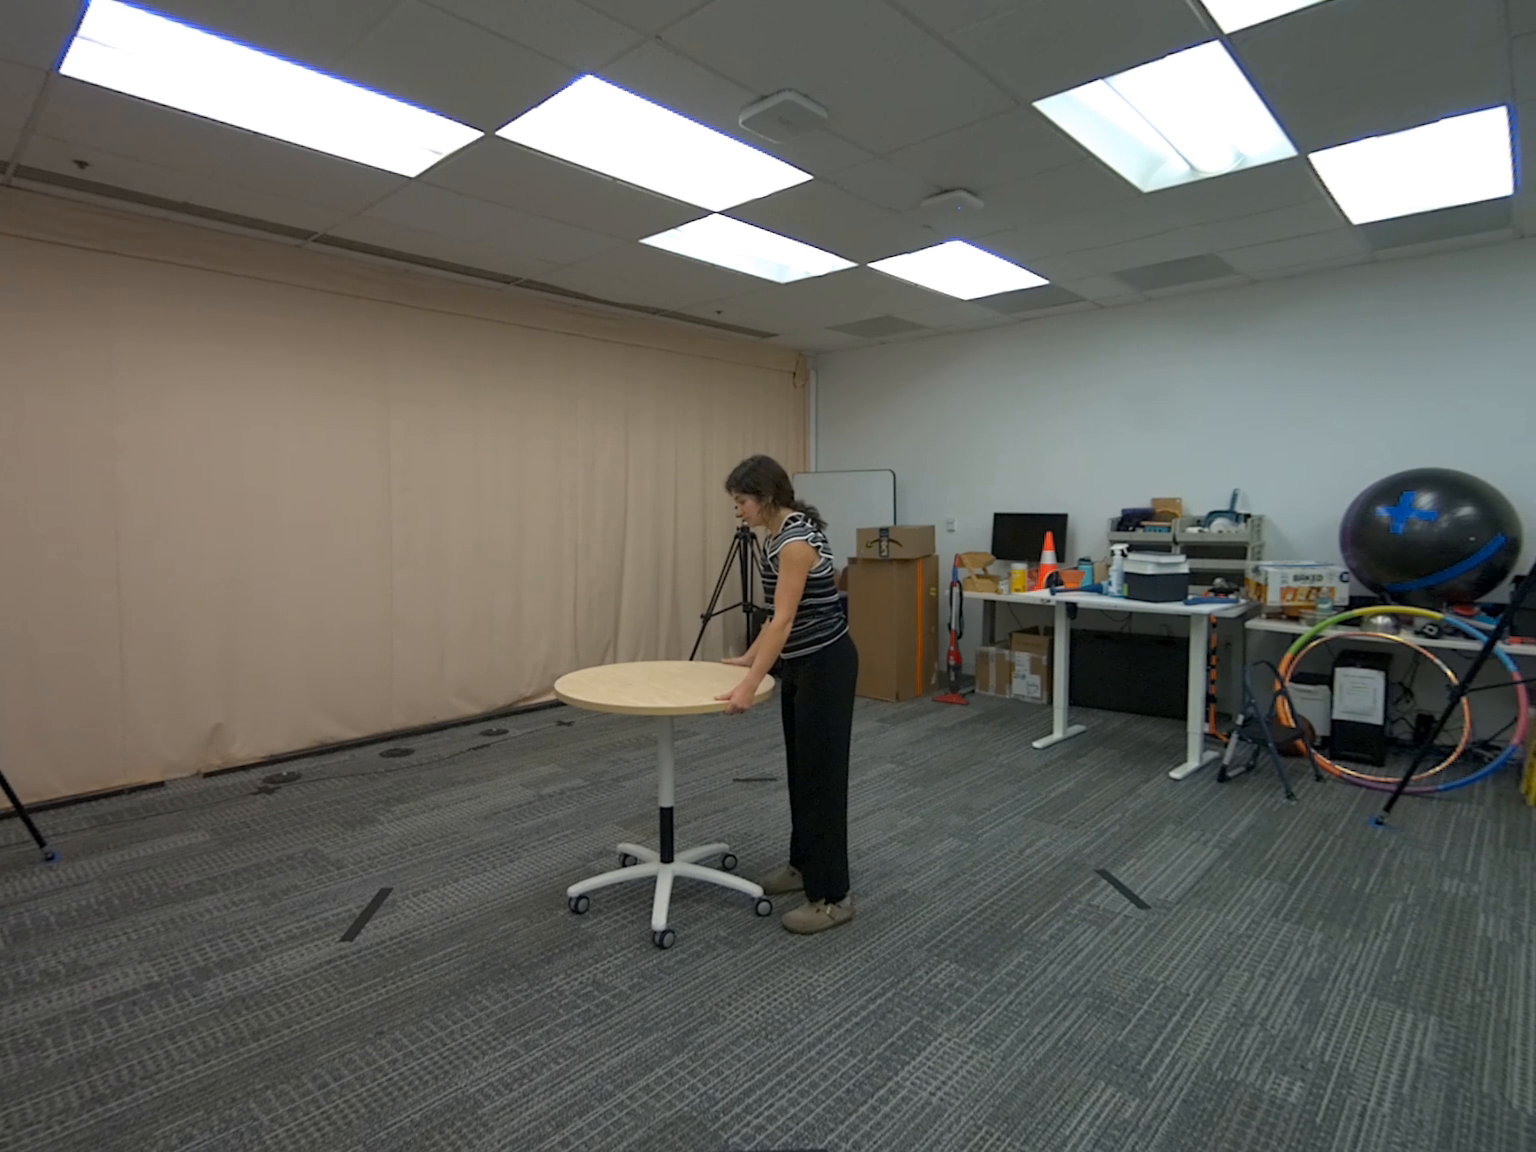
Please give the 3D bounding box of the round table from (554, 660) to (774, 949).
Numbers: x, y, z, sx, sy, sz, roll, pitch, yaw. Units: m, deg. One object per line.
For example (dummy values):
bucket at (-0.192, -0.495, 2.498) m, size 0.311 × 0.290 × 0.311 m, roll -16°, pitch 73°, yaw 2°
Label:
round table at (-0.360, 0.763, 2.967) m, size 0.763 × 0.792 × 0.766 m, roll 0°, pitch 4°, yaw -2°
